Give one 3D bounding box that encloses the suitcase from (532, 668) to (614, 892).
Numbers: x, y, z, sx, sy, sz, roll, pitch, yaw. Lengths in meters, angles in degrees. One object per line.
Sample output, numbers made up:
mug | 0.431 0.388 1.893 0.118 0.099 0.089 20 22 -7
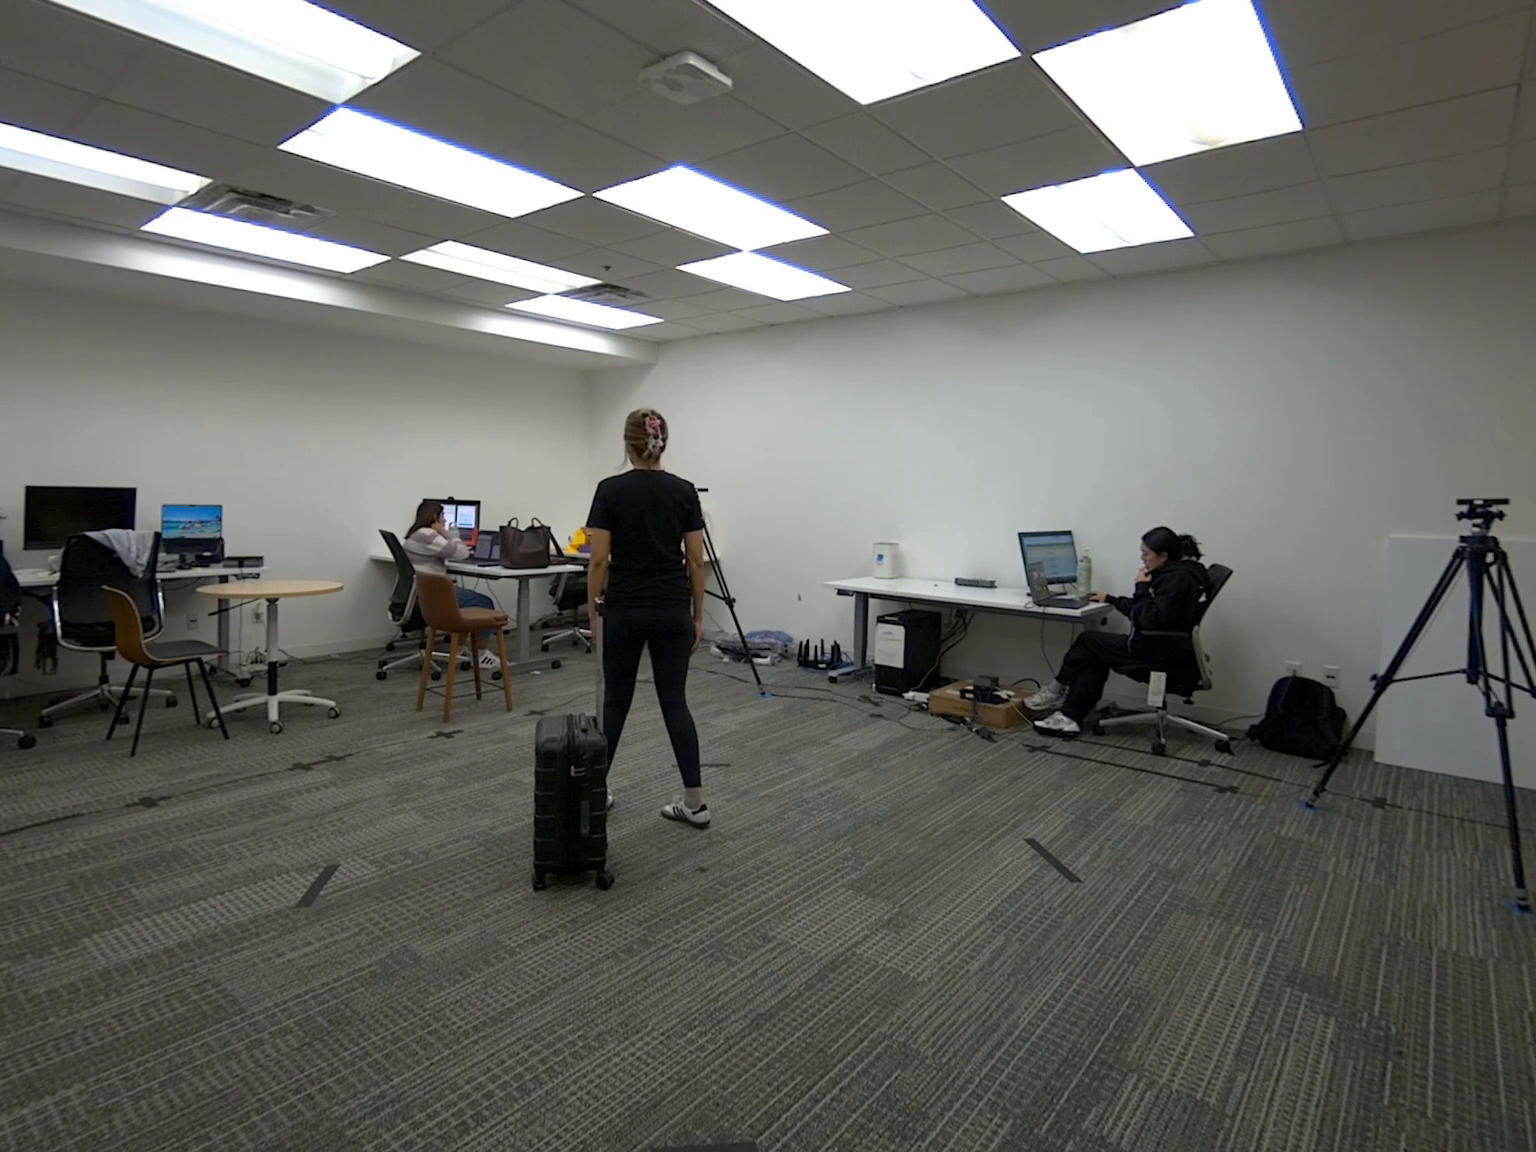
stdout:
suitcase | -0.730 0.593 3.057 0.254 0.976 0.389 -2 3 -12
